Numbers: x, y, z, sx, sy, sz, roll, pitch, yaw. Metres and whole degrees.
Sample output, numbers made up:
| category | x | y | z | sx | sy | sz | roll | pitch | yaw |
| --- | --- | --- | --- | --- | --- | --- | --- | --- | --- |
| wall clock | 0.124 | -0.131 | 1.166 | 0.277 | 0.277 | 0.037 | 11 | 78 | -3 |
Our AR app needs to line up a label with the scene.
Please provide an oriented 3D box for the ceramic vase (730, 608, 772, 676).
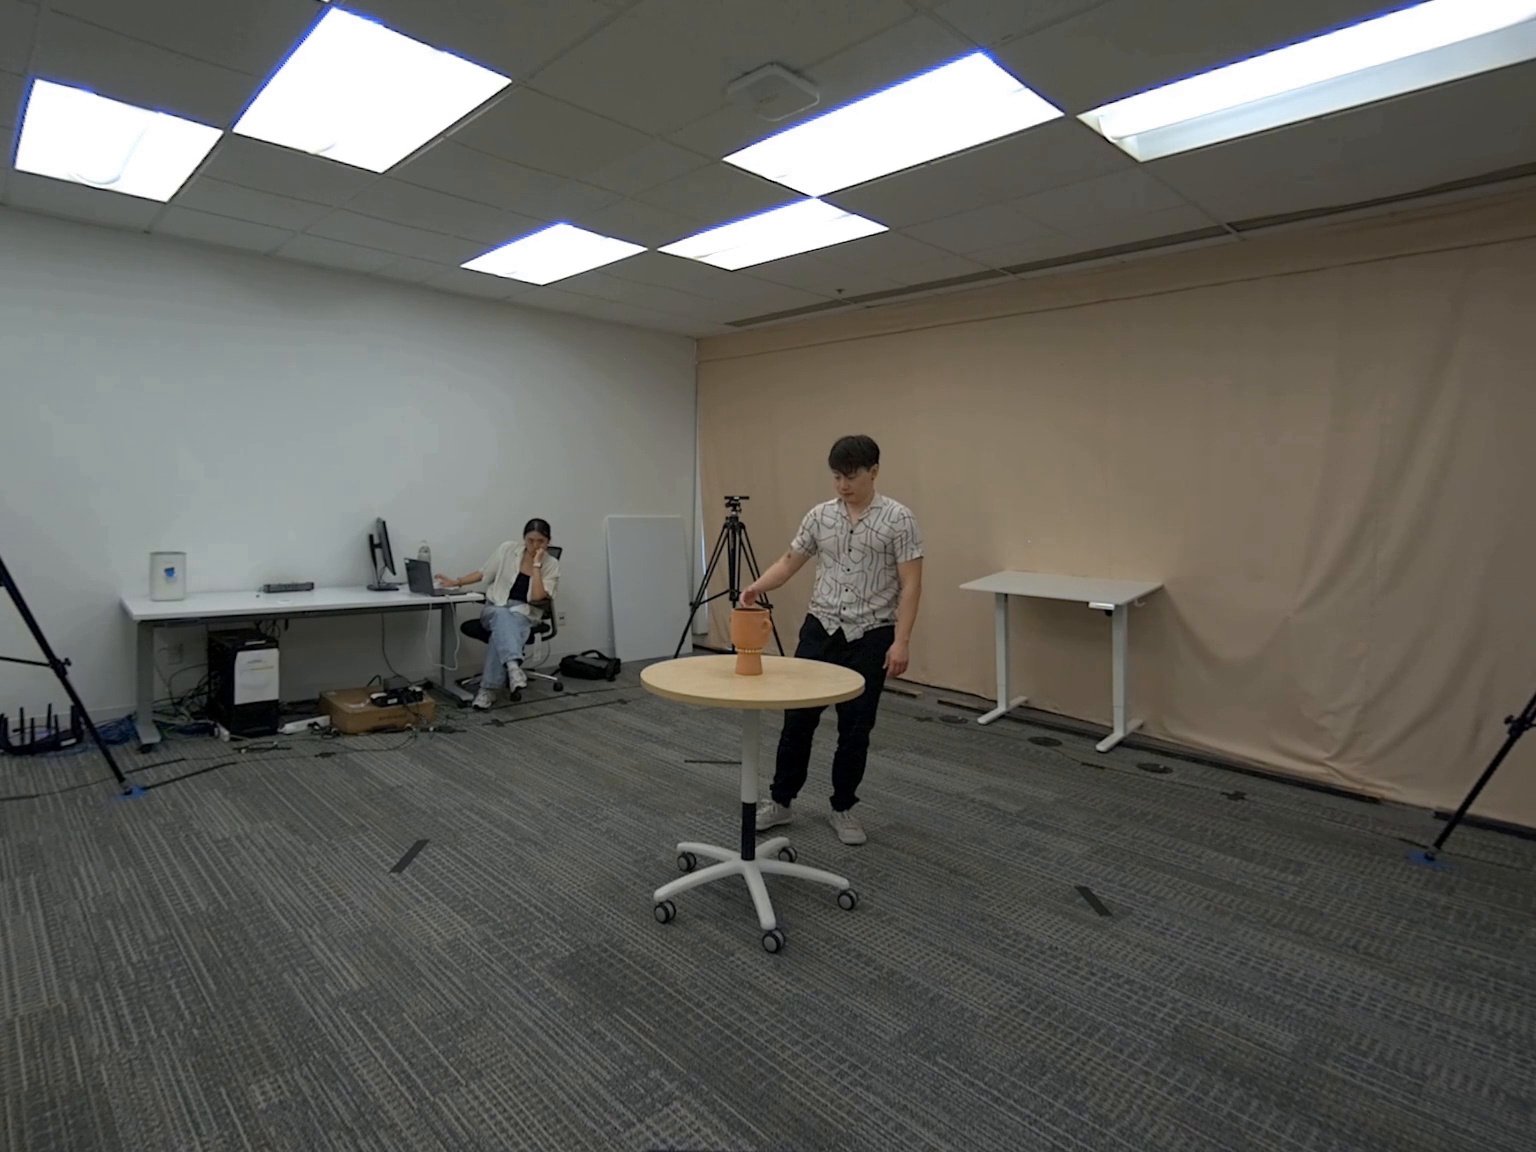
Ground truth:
| category | x | y | z | sx | sy | sz | roll | pitch | yaw |
| --- | --- | --- | --- | --- | --- | --- | --- | --- | --- |
| ceramic vase | -0.070 | 0.230 | 2.924 | 0.133 | 0.219 | 0.160 | 2 | 4 | -10 |
